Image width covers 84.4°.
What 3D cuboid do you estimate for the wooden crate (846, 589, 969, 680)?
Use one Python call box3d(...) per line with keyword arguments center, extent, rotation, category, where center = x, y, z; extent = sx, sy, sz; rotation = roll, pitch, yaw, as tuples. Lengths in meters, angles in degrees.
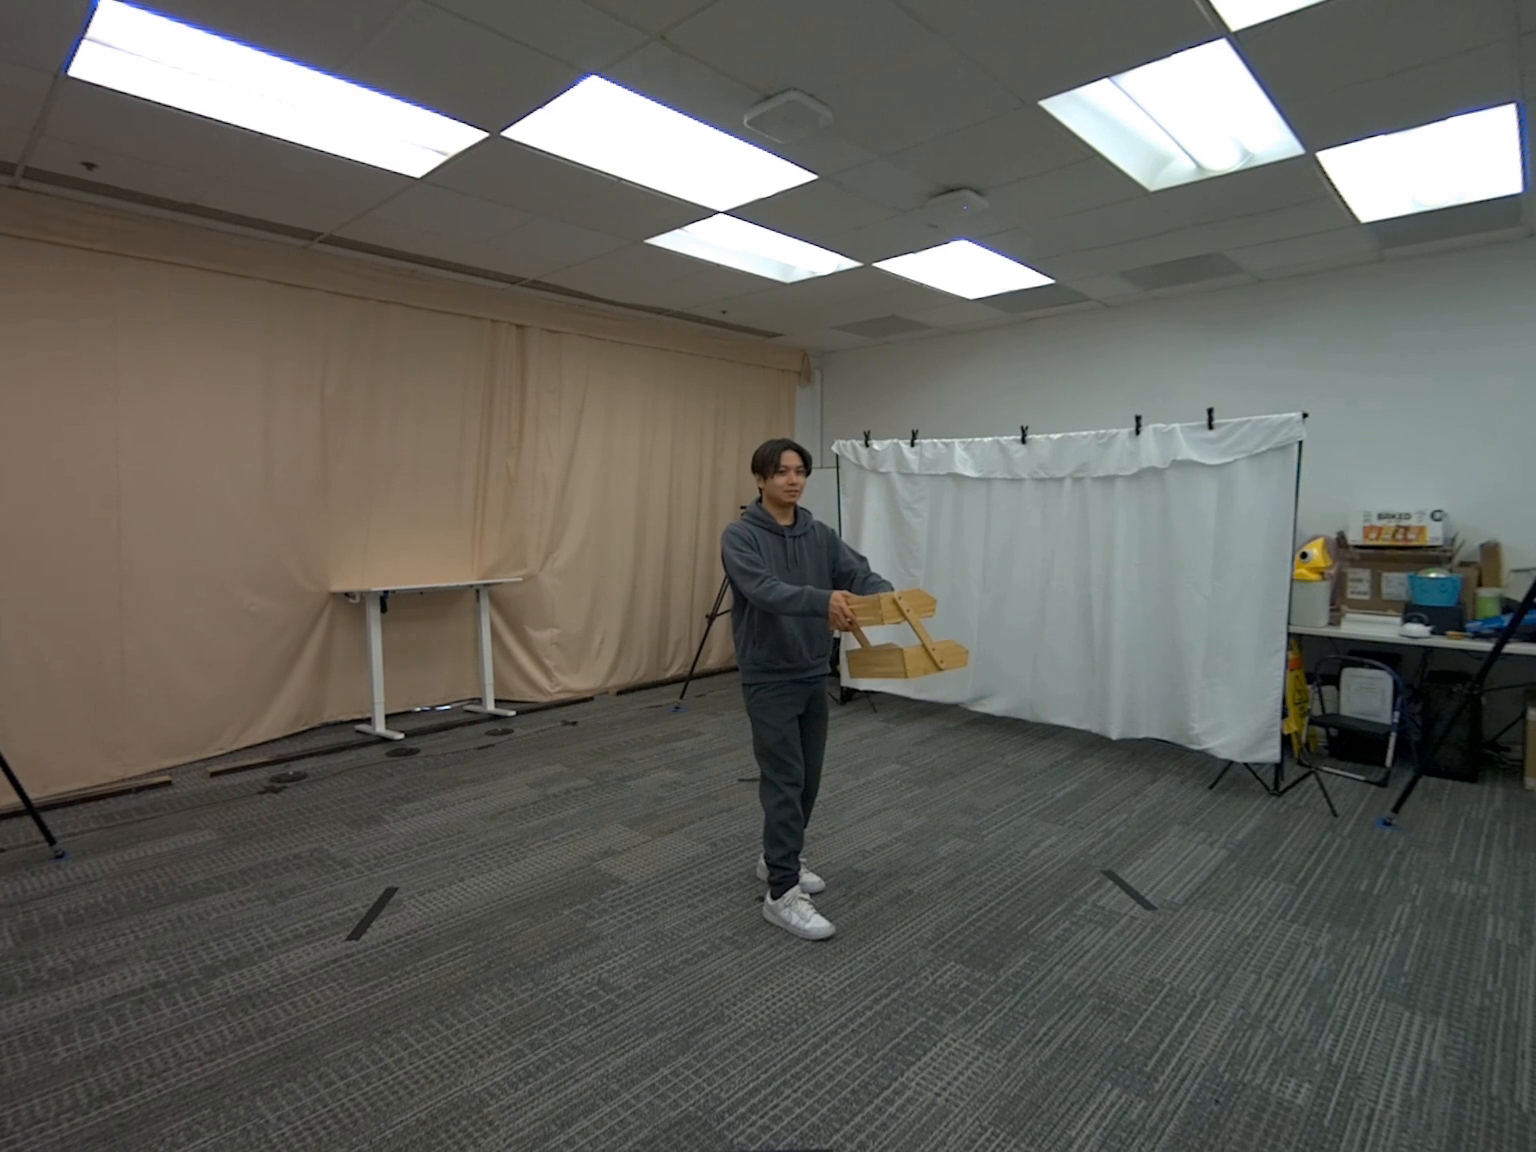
box3d(center=(0.416, 0.175, 2.662), extent=(0.295, 0.274, 0.331), rotation=(-7, -4, -27), category="wooden crate")
